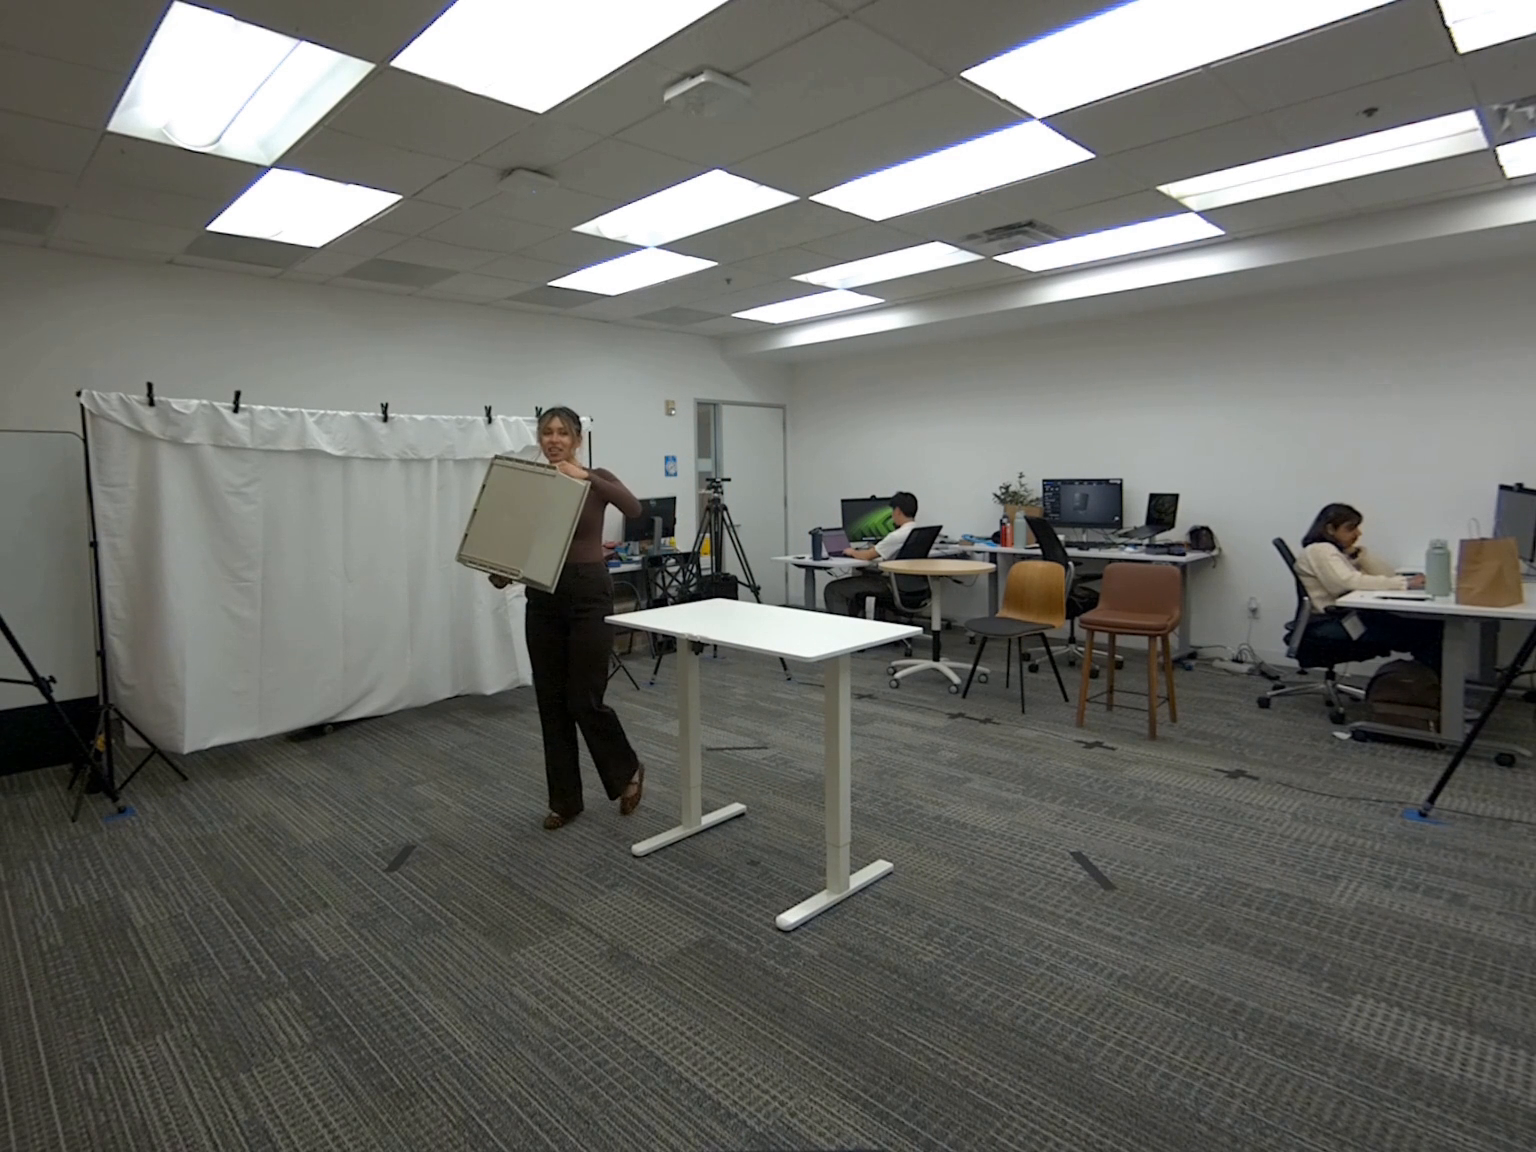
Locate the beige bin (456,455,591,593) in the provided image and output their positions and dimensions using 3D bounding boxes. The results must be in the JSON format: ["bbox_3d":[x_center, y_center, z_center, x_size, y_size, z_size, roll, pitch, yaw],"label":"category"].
[{"bbox_3d":[-0.898,-0.196,3.087,0.389,0.424,0.182,13,-9,30],"label":"beige bin"}]
